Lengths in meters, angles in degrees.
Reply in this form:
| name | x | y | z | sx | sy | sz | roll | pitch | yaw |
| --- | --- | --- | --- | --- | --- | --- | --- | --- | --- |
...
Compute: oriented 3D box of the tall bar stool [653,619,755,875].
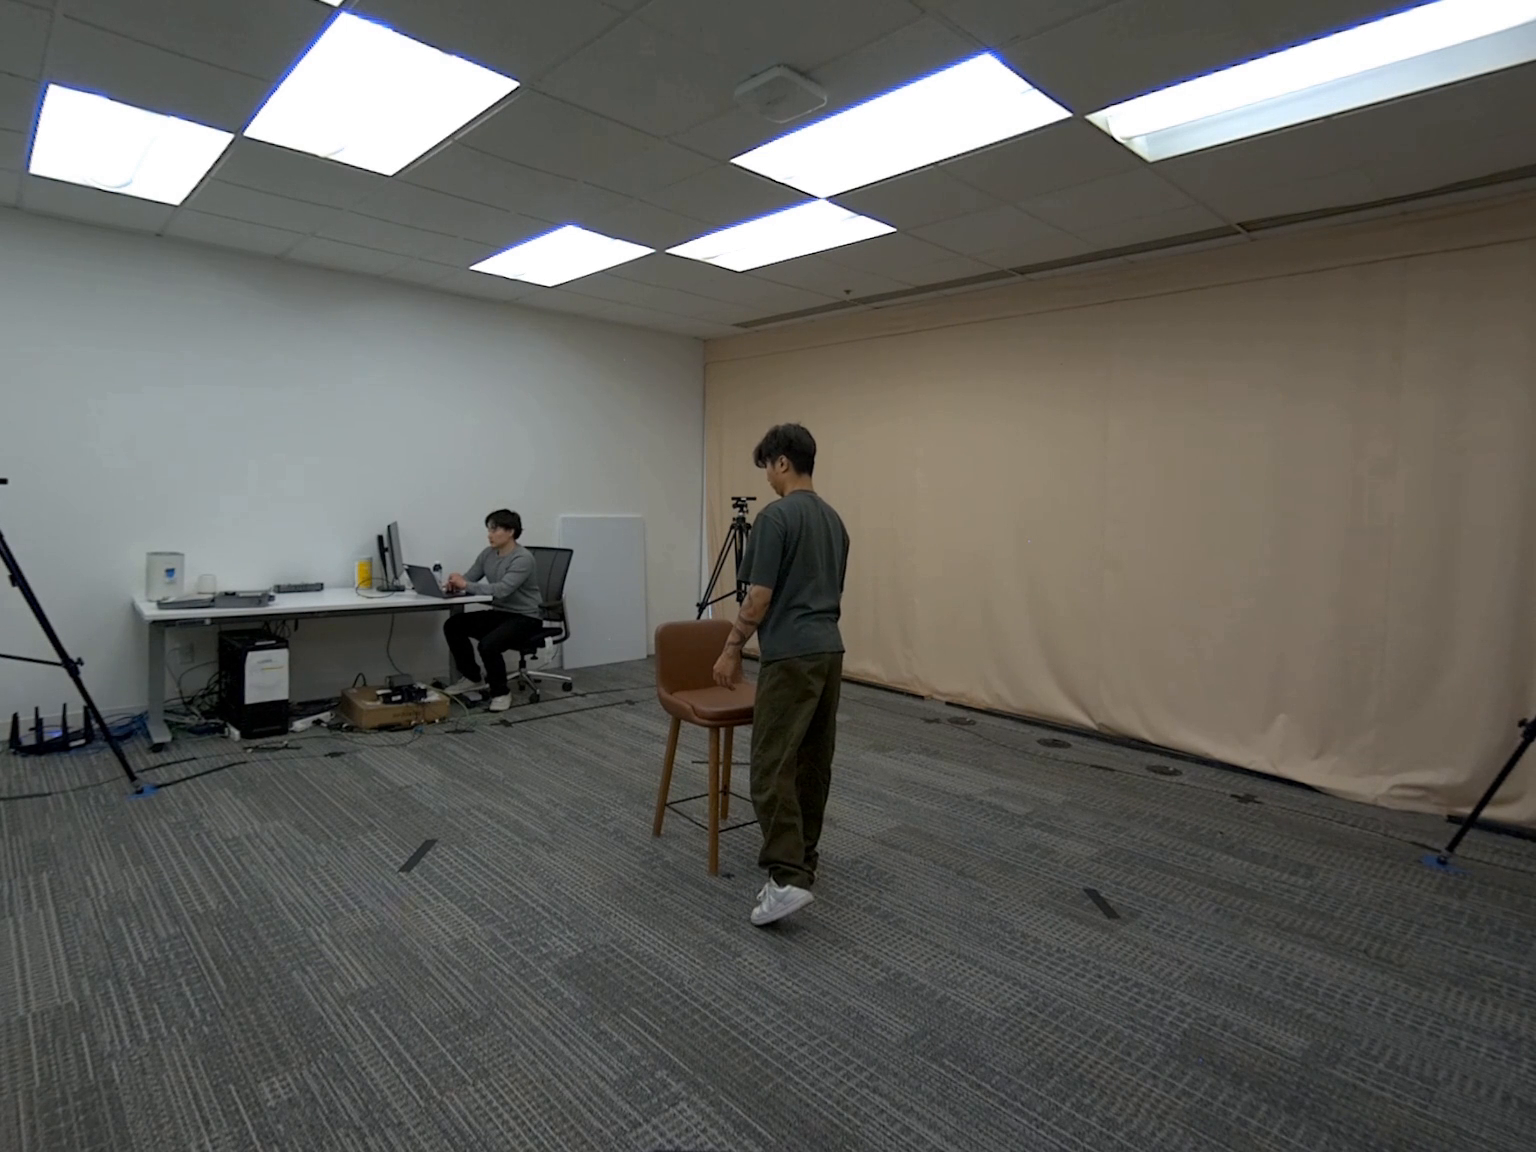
| name | x | y | z | sx | sy | sz | roll | pitch | yaw |
| --- | --- | --- | --- | --- | --- | --- | --- | --- | --- |
| tall bar stool | -0.189 | 0.644 | 3.371 | 0.446 | 0.888 | 0.479 | -1 | 3 | -38 |
